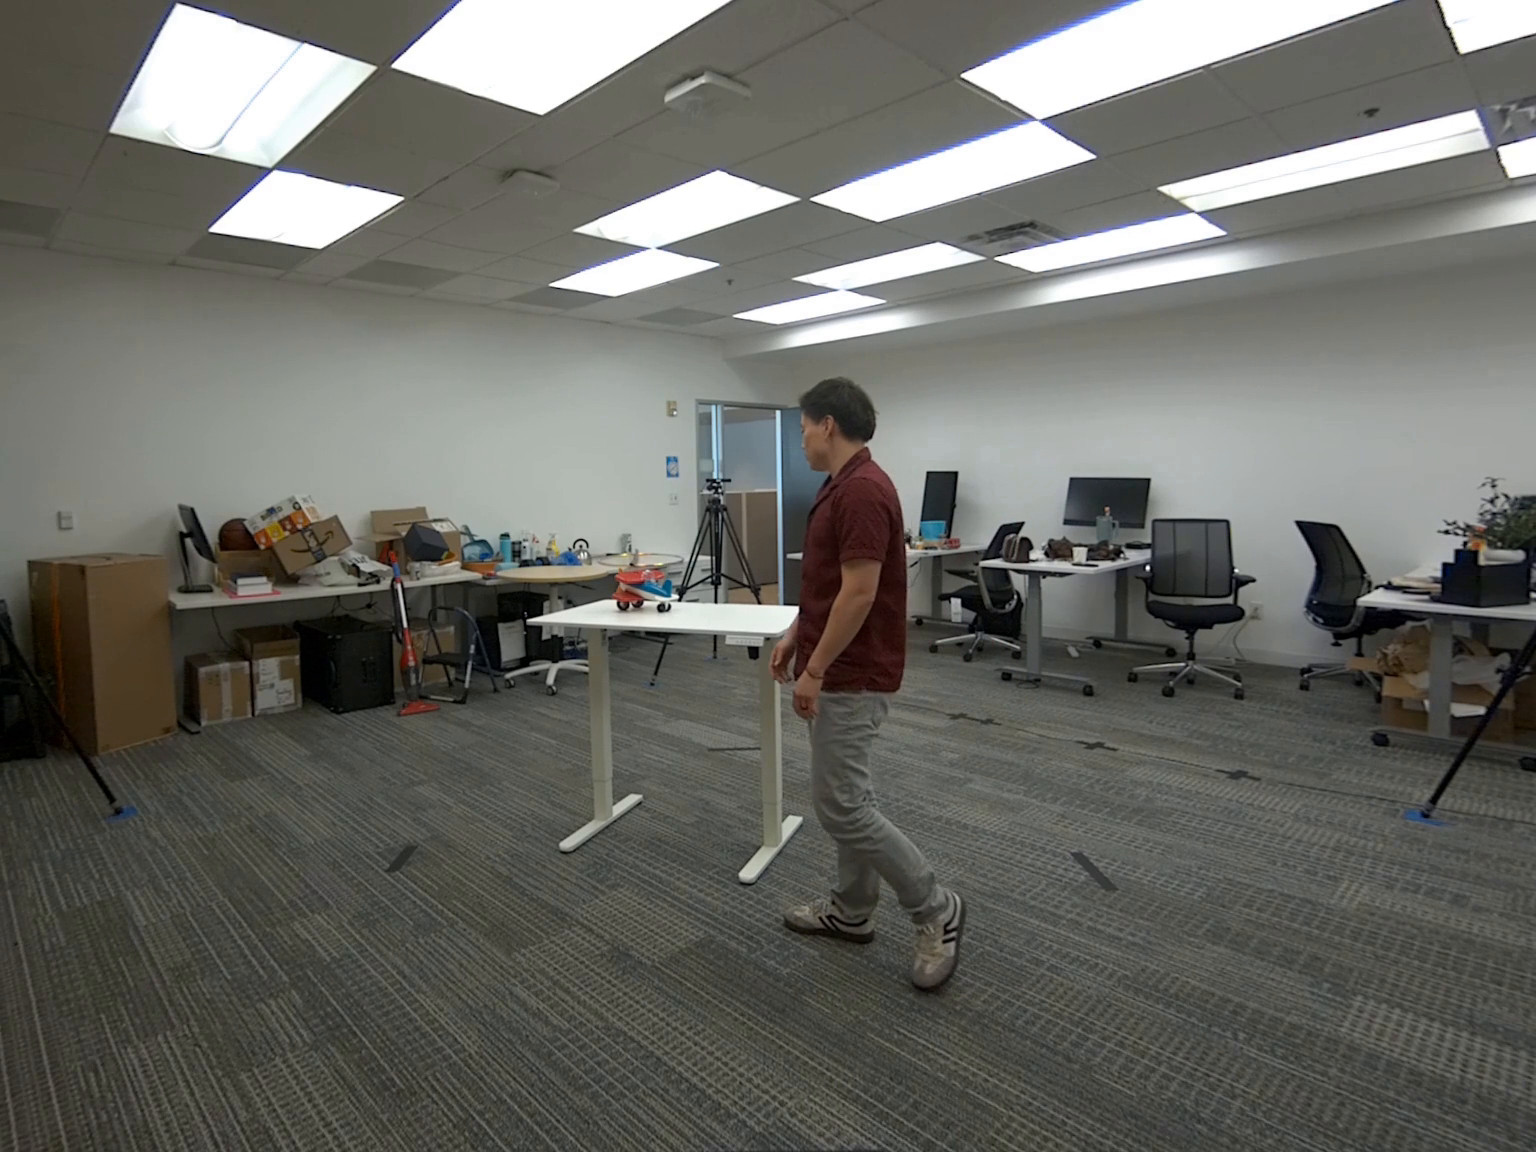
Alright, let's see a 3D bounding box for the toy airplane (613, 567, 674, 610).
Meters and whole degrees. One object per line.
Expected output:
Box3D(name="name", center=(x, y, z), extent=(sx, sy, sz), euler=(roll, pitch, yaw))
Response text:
Box3D(name="toy airplane", center=(-0.480, 0.061, 3.428), extent=(0.261, 0.156, 0.250), euler=(-1, 4, 6))
